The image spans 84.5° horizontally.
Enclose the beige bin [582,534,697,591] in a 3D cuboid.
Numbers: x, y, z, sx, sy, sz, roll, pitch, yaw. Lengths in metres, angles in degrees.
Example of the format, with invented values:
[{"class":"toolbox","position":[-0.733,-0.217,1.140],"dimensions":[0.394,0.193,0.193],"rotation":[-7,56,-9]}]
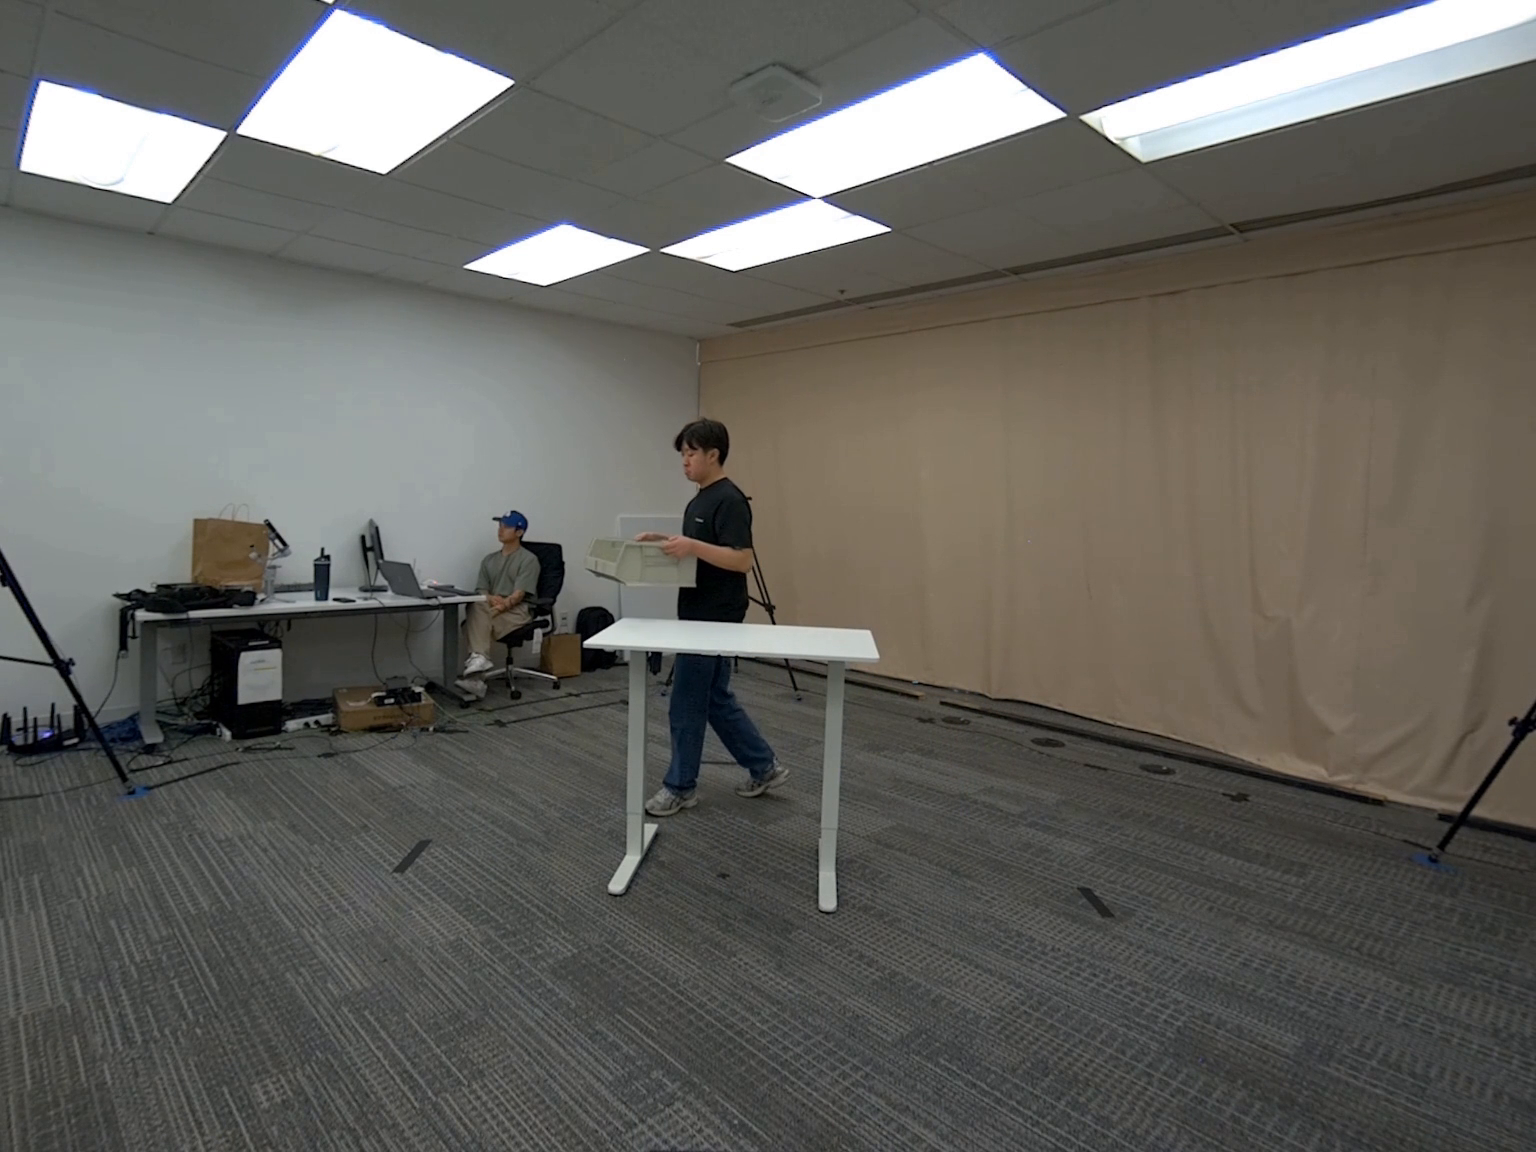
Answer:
[{"class":"beige bin","position":[-0.546,-0.061,3.632],"dimensions":[0.369,0.189,0.432],"rotation":[4,3,-28]}]
